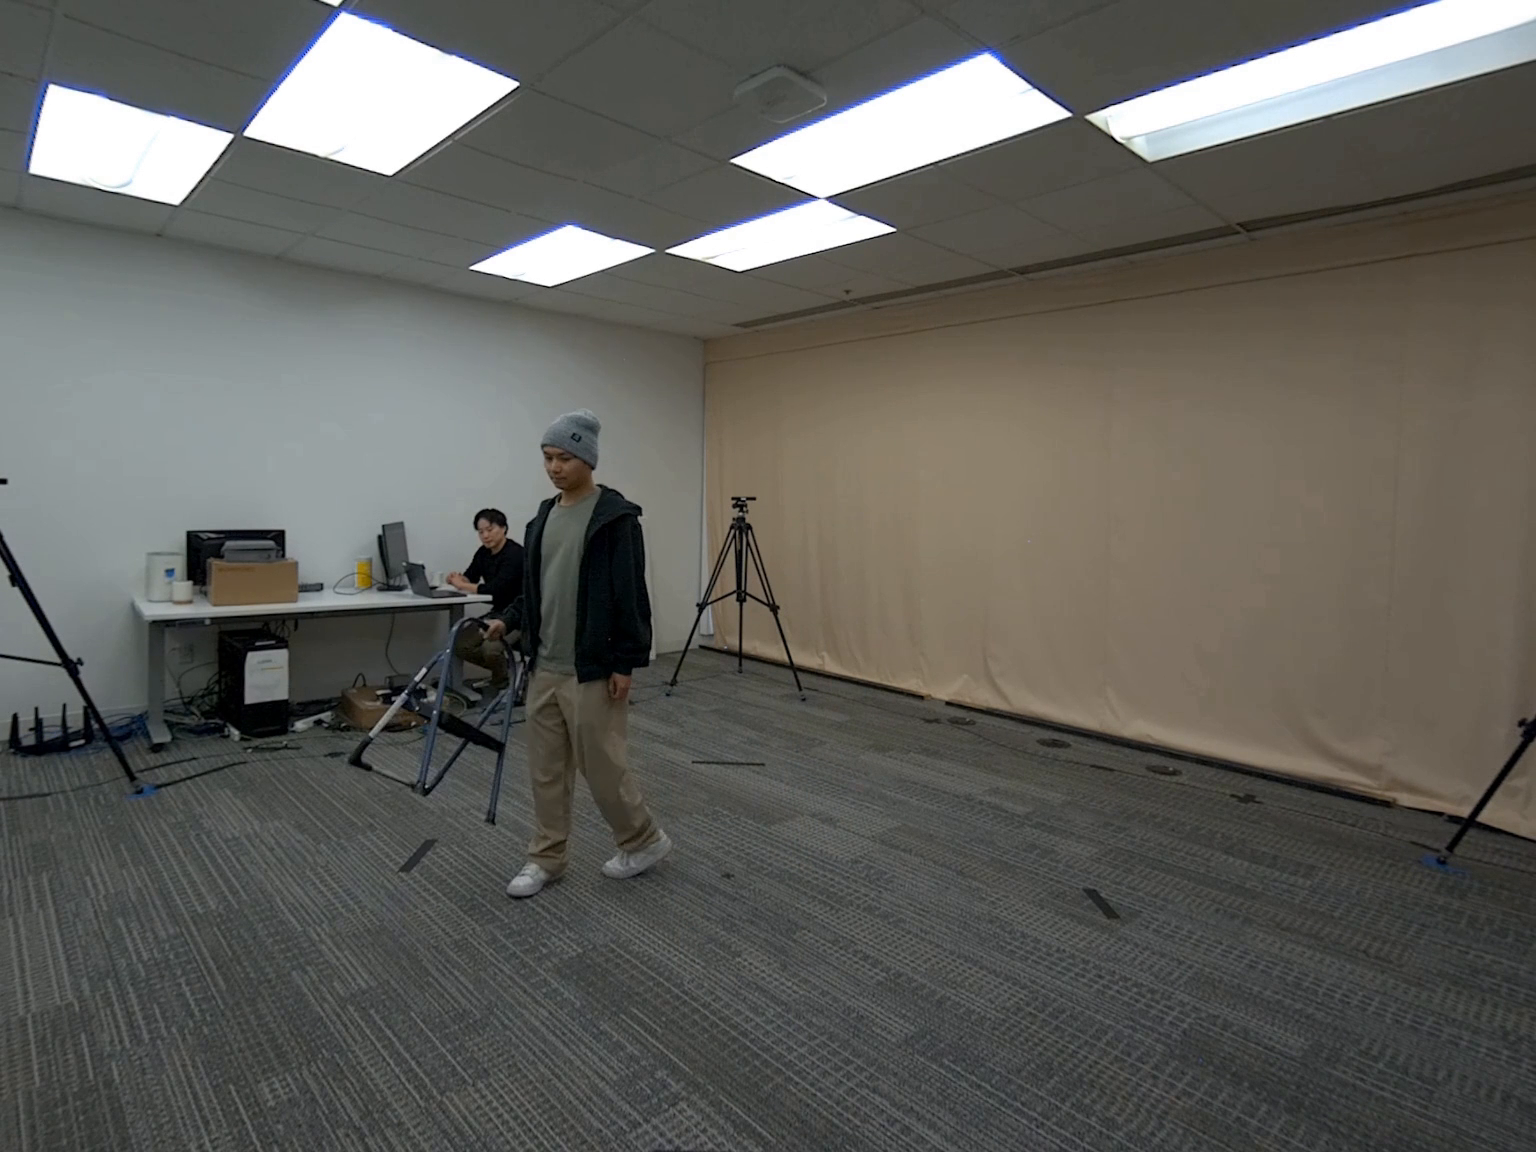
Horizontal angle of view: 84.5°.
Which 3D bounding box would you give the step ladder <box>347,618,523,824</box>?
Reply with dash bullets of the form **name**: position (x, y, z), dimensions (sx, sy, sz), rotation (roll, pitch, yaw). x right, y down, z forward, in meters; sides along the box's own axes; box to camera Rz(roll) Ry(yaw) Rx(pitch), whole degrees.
- **step ladder**: position (-1.045, 0.473, 2.904), dimensions (0.357, 0.610, 0.418), rotation (13, -23, 25)
